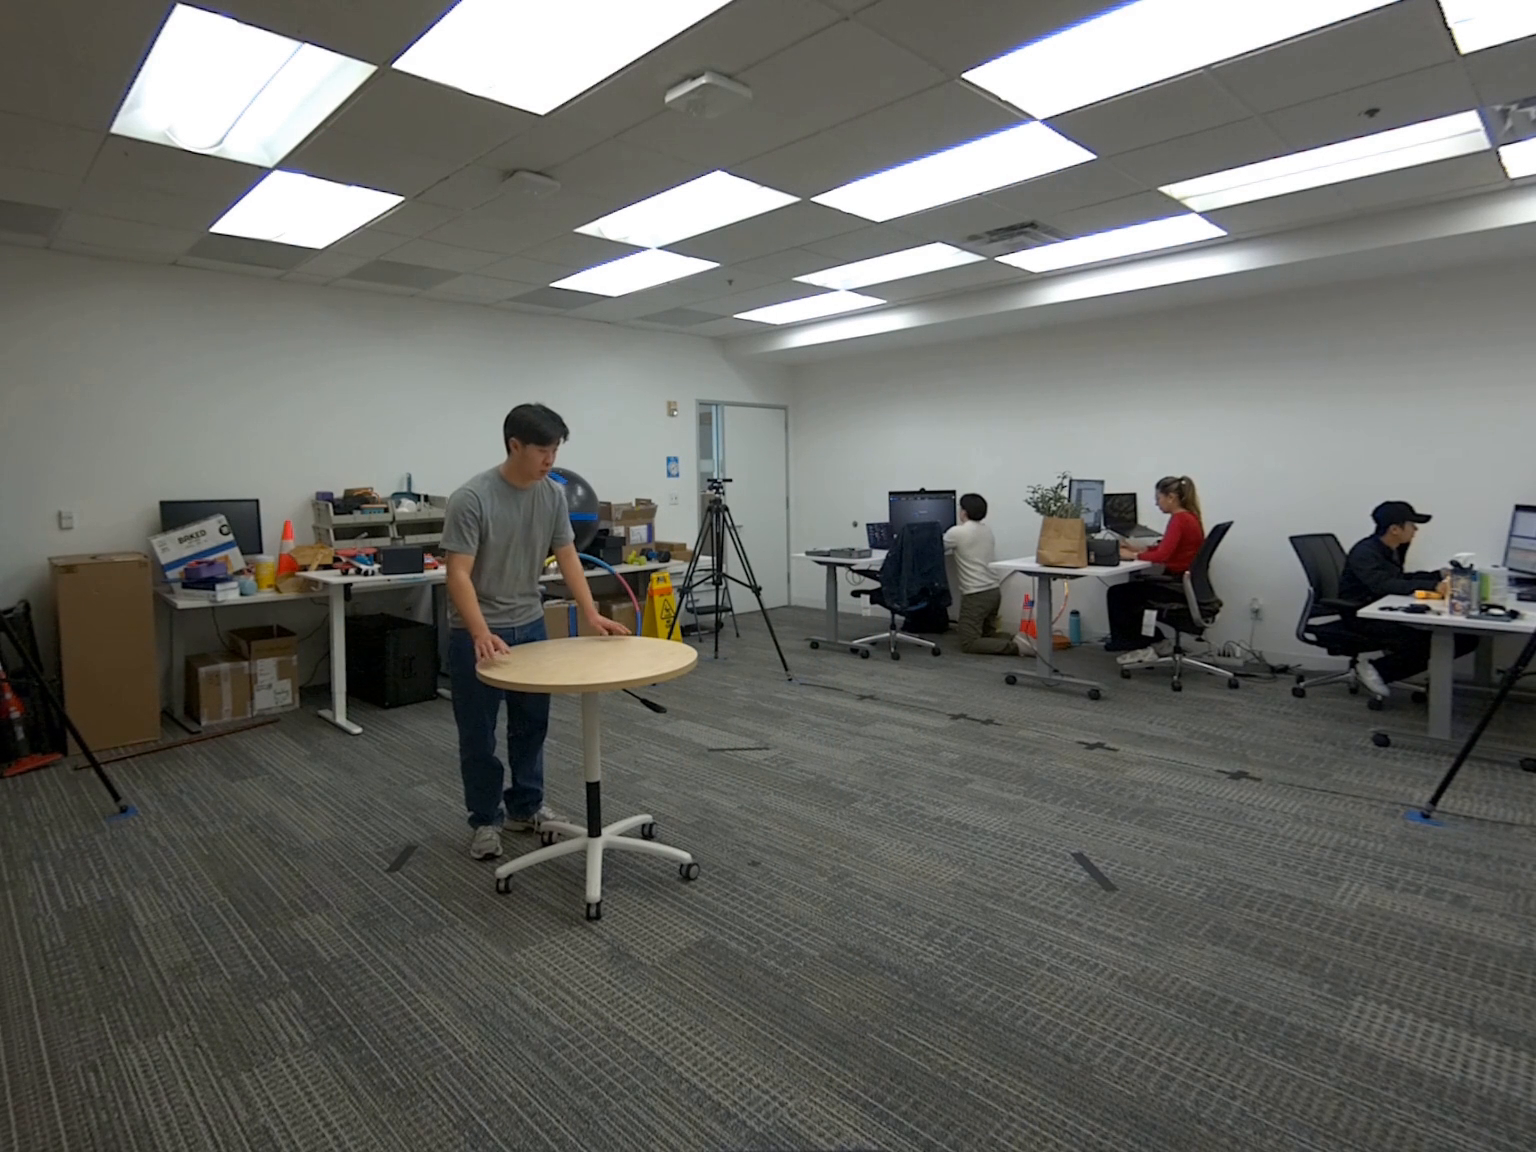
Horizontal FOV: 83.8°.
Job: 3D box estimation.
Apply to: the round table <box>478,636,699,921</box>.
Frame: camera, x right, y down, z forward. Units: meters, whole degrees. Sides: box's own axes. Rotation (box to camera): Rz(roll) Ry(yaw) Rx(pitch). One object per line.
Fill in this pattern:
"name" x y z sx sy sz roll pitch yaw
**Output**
"round table" -0.612 0.678 3.022 0.763 0.791 0.768 -2 5 -2
